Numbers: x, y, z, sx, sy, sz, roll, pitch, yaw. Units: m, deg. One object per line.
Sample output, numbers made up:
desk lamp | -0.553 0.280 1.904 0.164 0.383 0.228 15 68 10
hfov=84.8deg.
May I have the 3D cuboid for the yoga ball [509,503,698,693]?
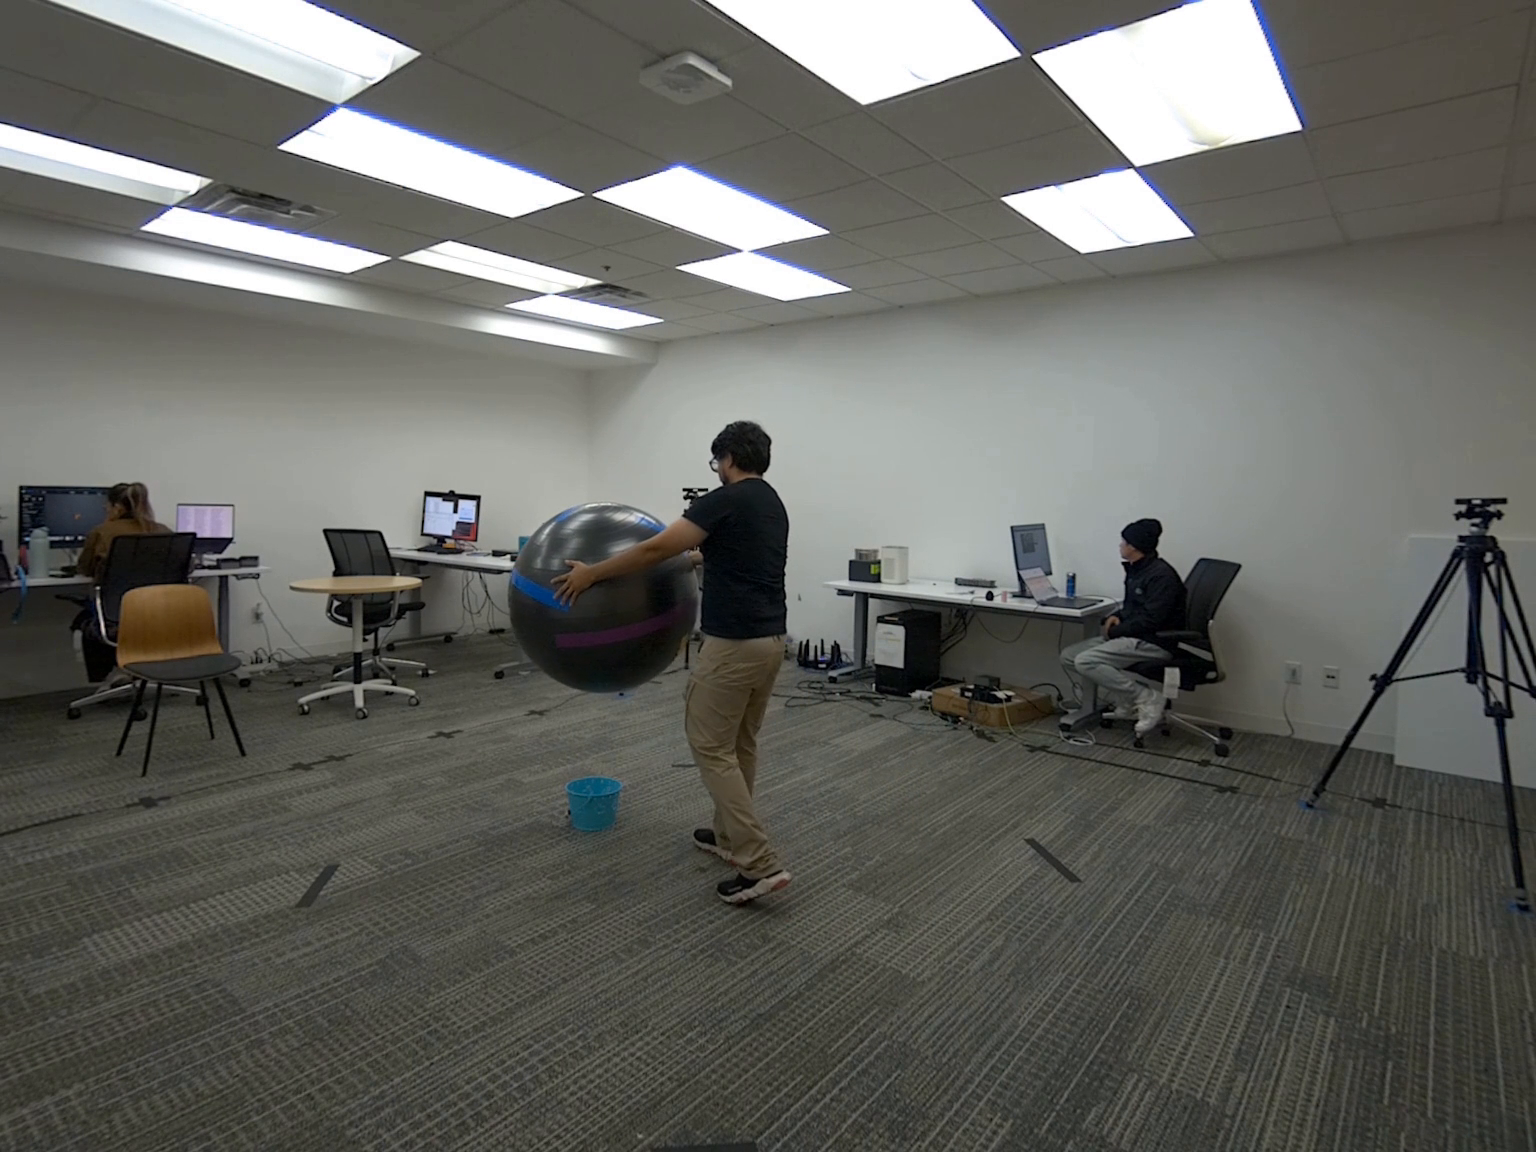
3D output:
yoga ball | -0.674 0.090 3.414 0.757 0.756 0.761 1 4 -2
